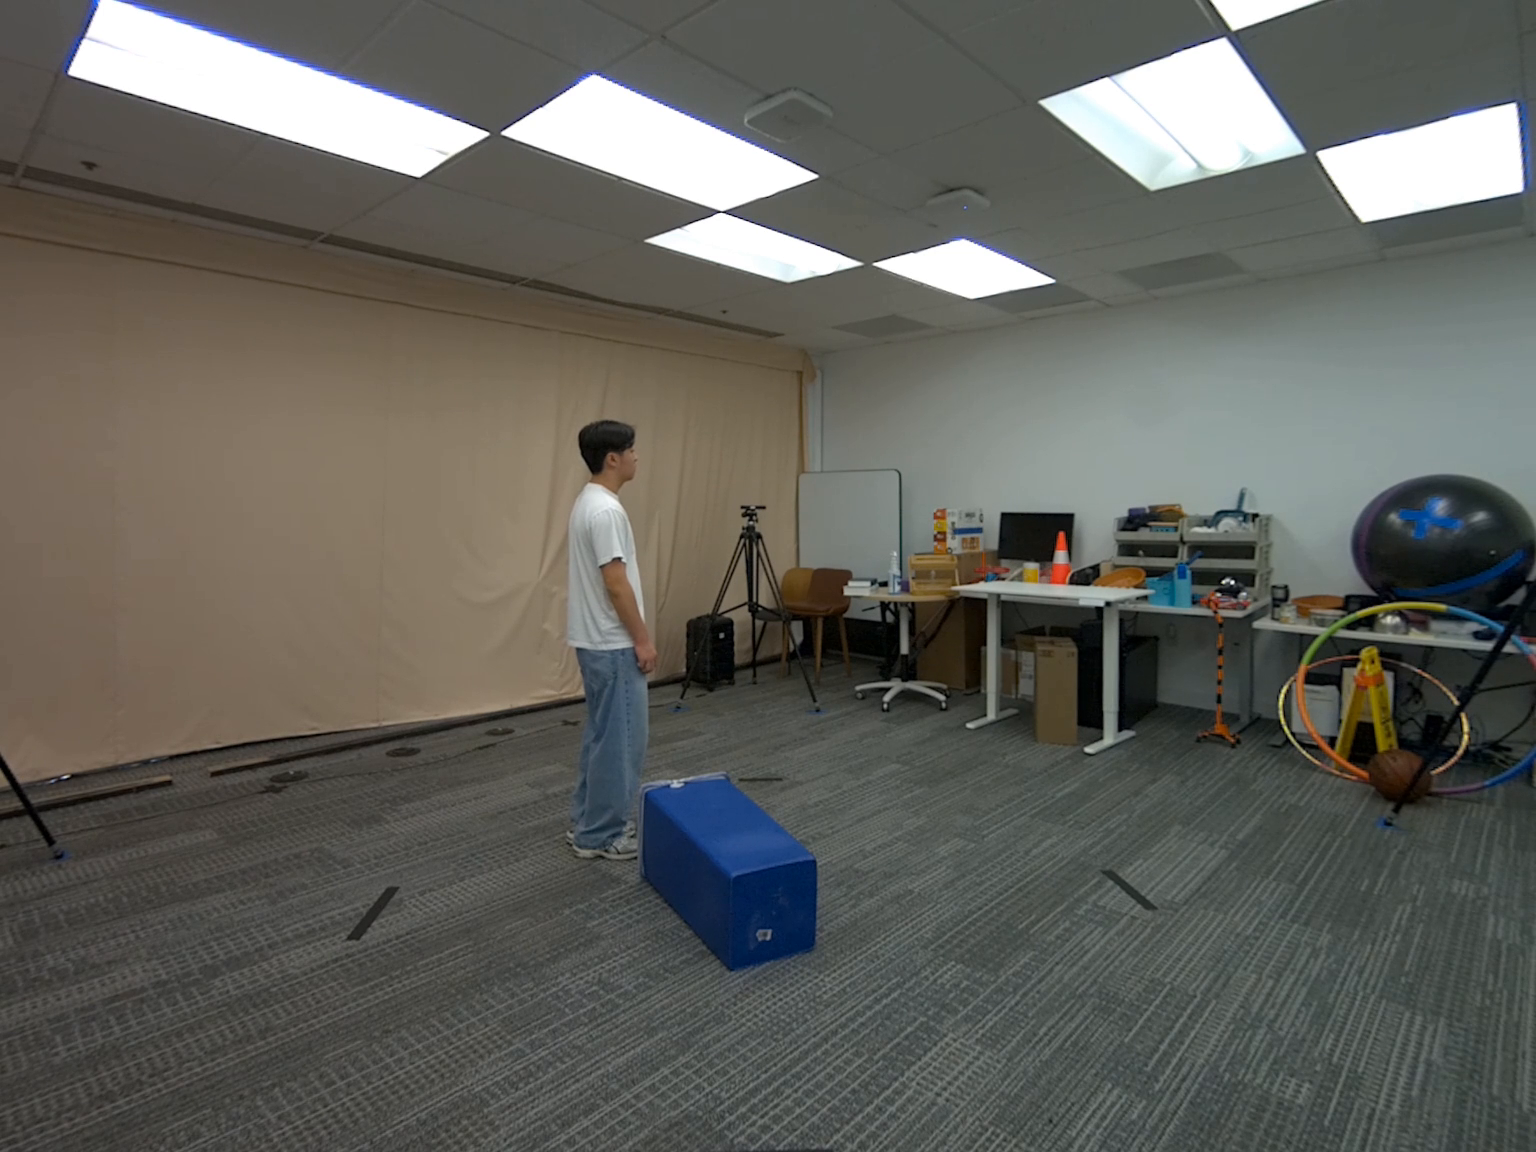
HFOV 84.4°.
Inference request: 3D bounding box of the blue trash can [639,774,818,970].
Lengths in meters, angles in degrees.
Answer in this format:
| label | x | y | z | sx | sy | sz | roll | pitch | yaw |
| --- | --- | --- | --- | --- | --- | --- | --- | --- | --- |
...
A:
| label | x | y | z | sx | sy | sz | roll | pitch | yaw |
| --- | --- | --- | --- | --- | --- | --- | --- | --- | --- |
| blue trash can | -0.141 | 0.989 | 2.878 | 0.365 | 0.376 | 0.734 | -2 | 7 | -28 |
